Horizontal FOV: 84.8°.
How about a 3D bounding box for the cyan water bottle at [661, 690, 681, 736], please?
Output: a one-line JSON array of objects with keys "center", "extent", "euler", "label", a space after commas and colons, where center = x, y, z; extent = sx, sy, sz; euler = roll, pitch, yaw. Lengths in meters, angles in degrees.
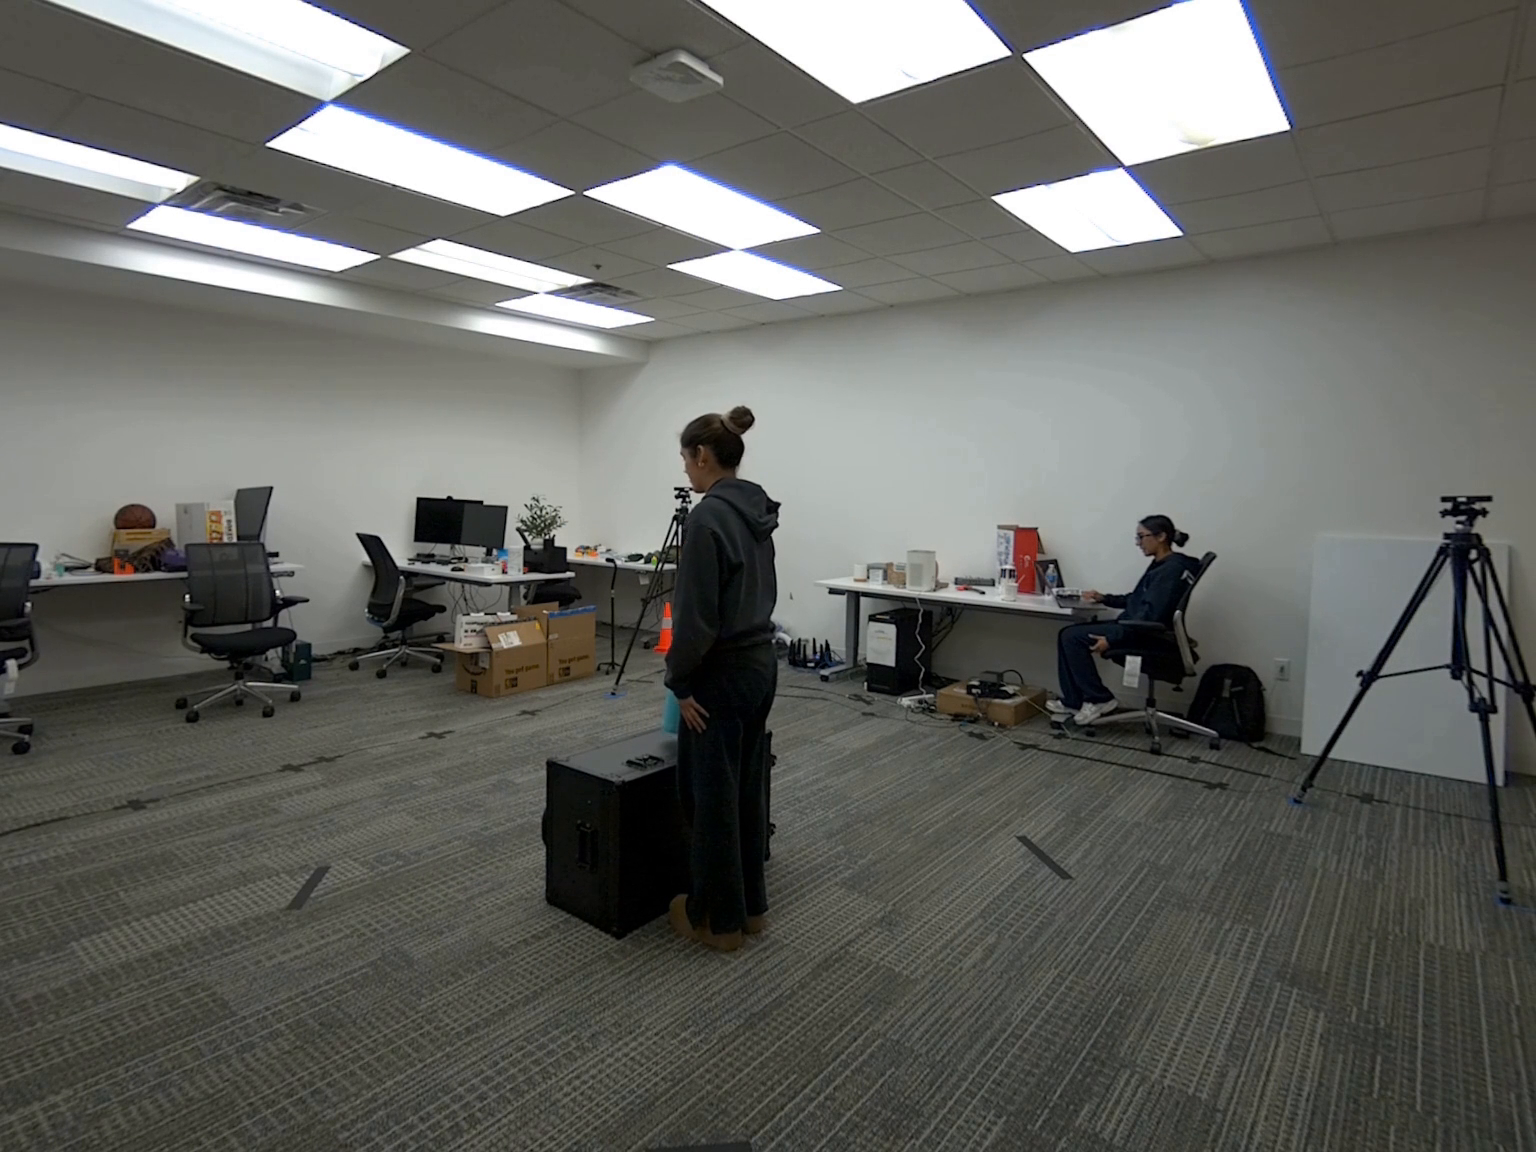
[{"center": [-0.310, 0.411, 3.052], "extent": [0.092, 0.283, 0.092], "euler": [7, 1, -2], "label": "cyan water bottle"}]
